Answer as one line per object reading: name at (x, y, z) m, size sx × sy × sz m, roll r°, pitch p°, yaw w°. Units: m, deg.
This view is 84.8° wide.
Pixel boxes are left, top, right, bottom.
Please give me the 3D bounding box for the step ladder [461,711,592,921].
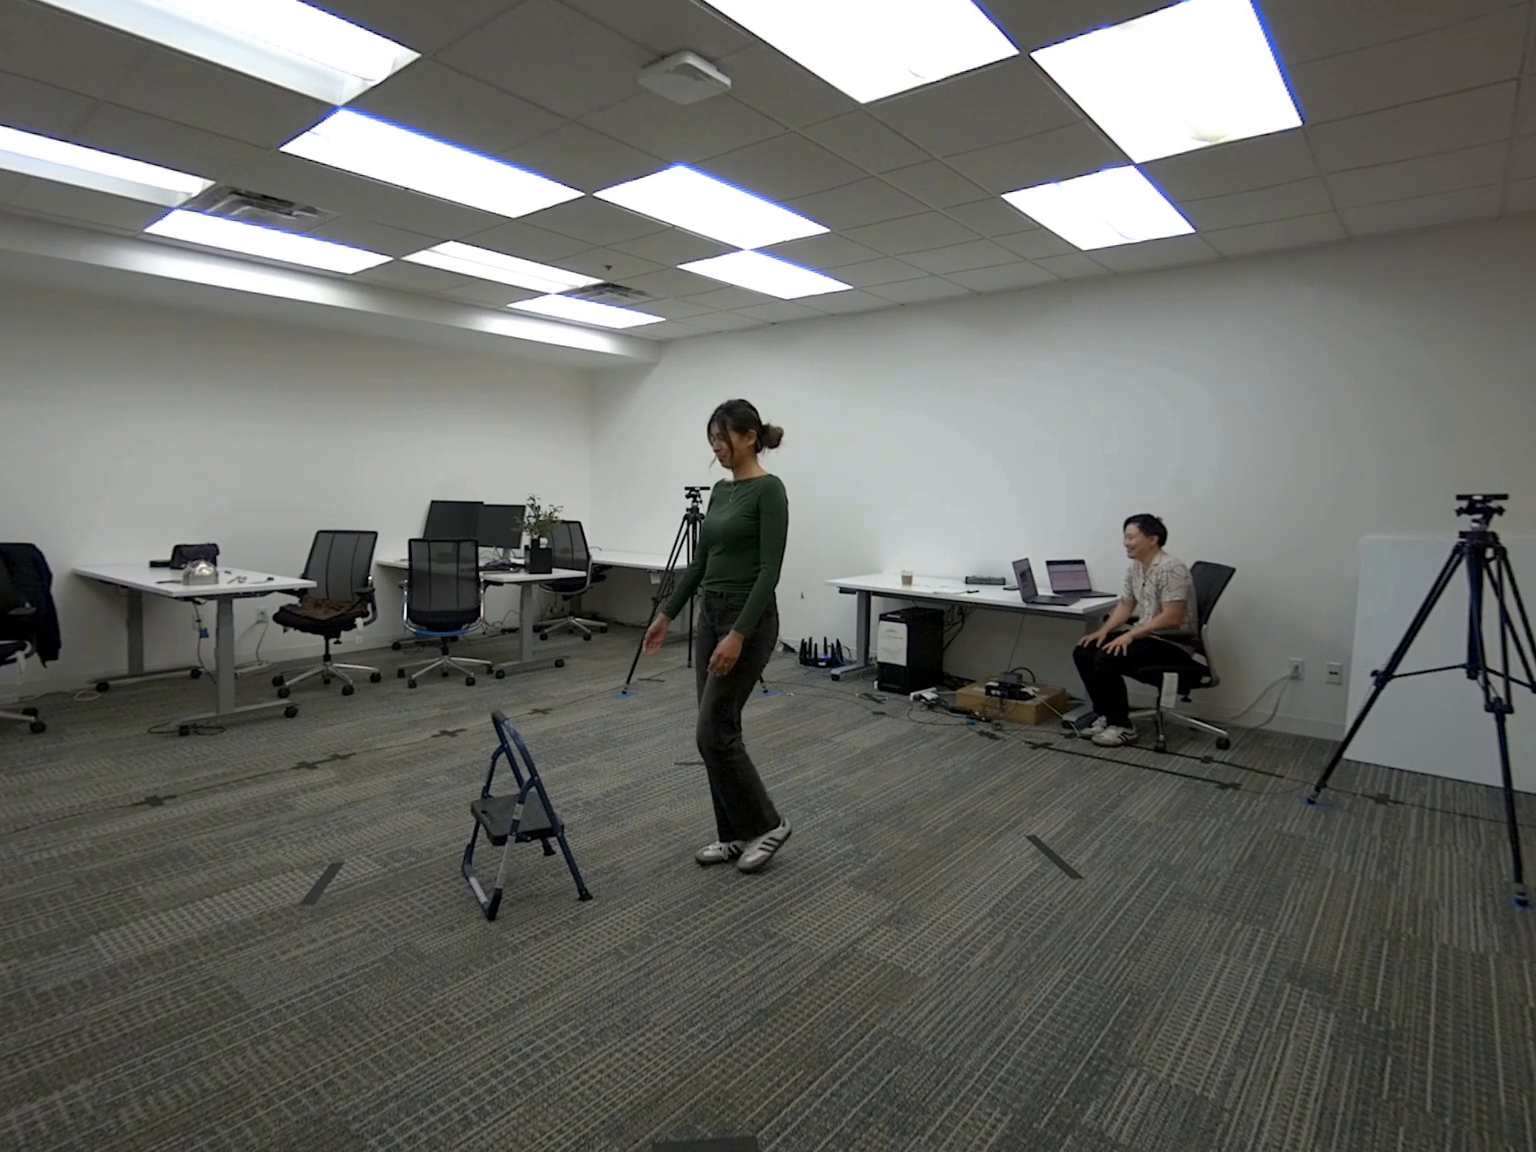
step ladder at (-0.857, 0.771, 2.945) m, size 0.340 × 0.604 × 0.444 m, roll -1°, pitch 4°, yaw -32°
